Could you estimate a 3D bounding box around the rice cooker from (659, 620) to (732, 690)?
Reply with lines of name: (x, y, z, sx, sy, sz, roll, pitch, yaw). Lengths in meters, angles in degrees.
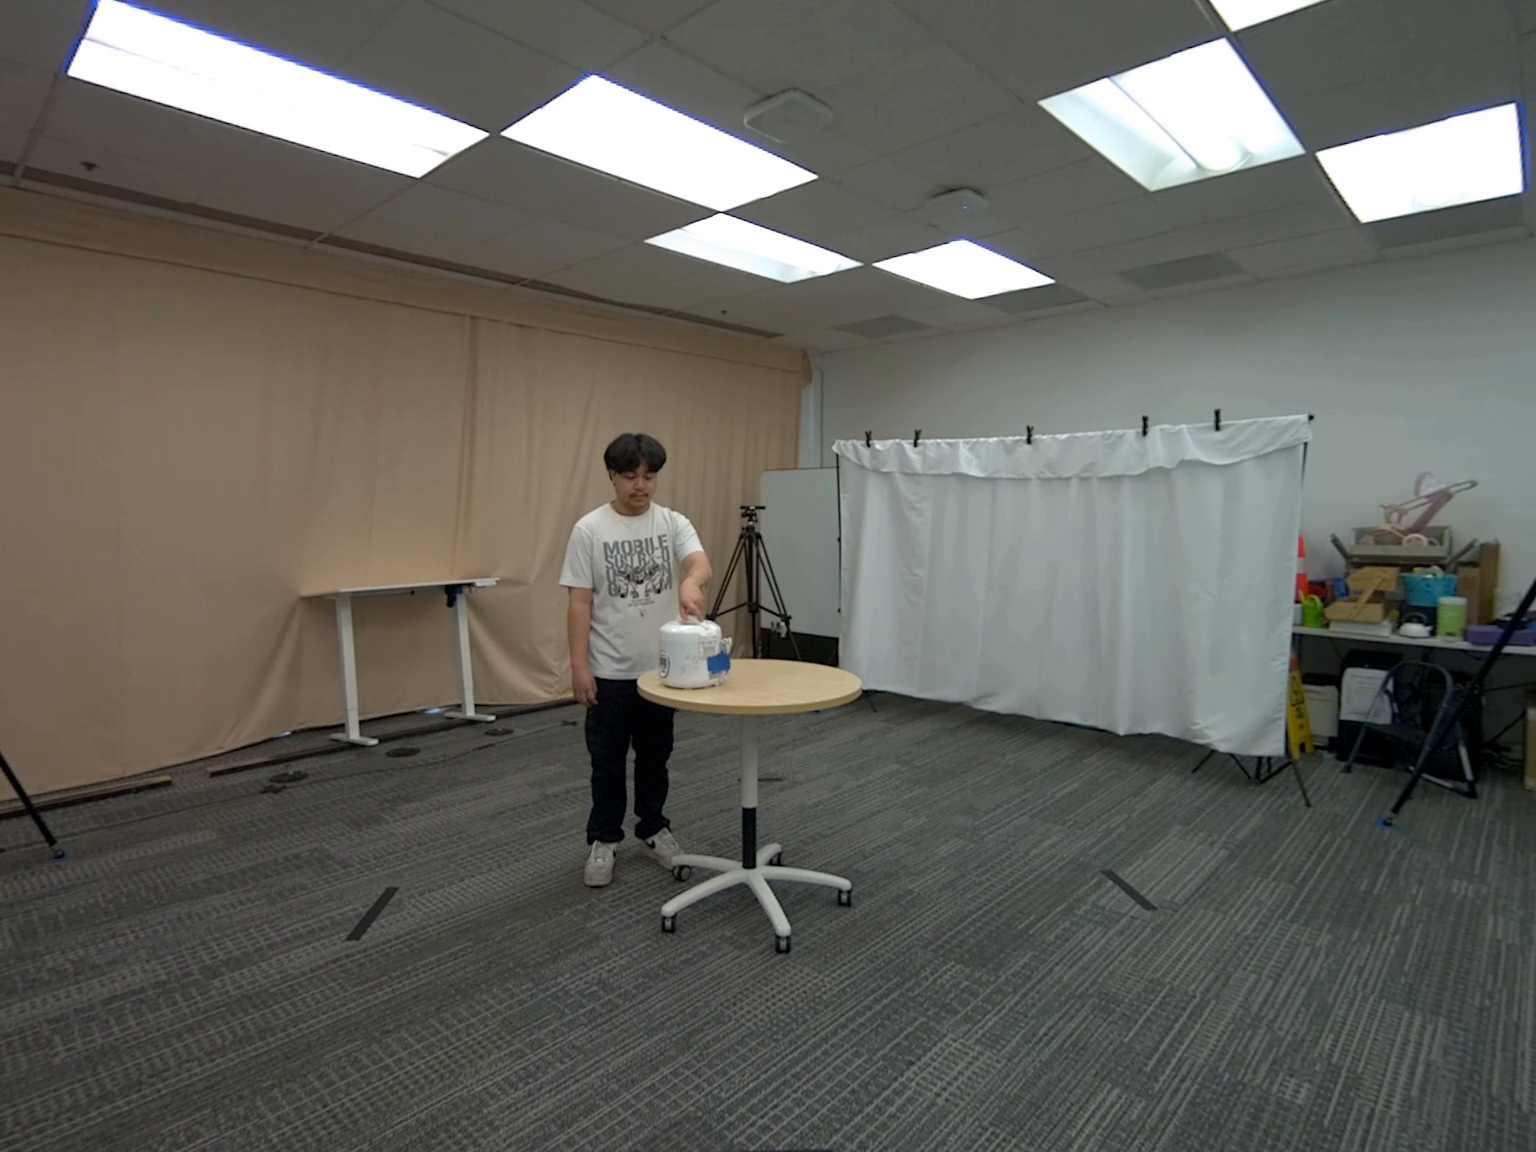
rice cooker: (-0.253, 0.247, 2.806, 0.211, 0.232, 0.228, -1, 4, -37)
